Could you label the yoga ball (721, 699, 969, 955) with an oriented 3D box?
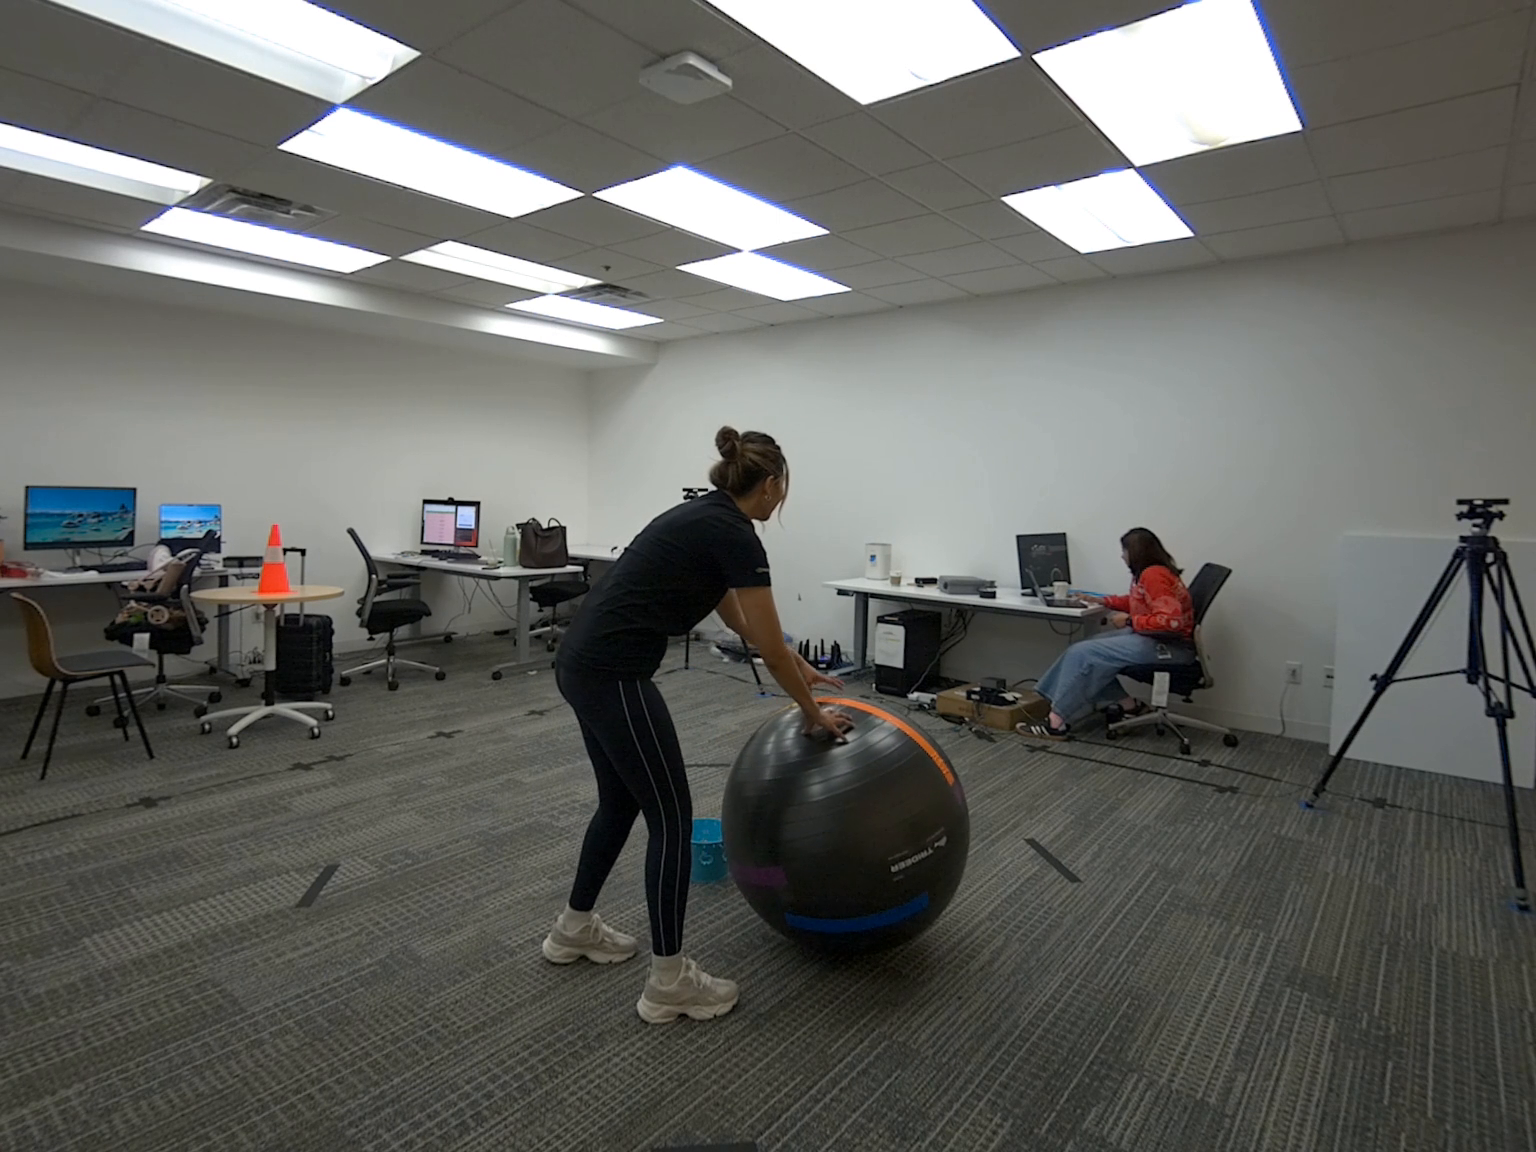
[{"bbox_3d":[0.236,0.764,2.631,0.757,0.755,0.762,1,4,-2],"label":"yoga ball"}]
